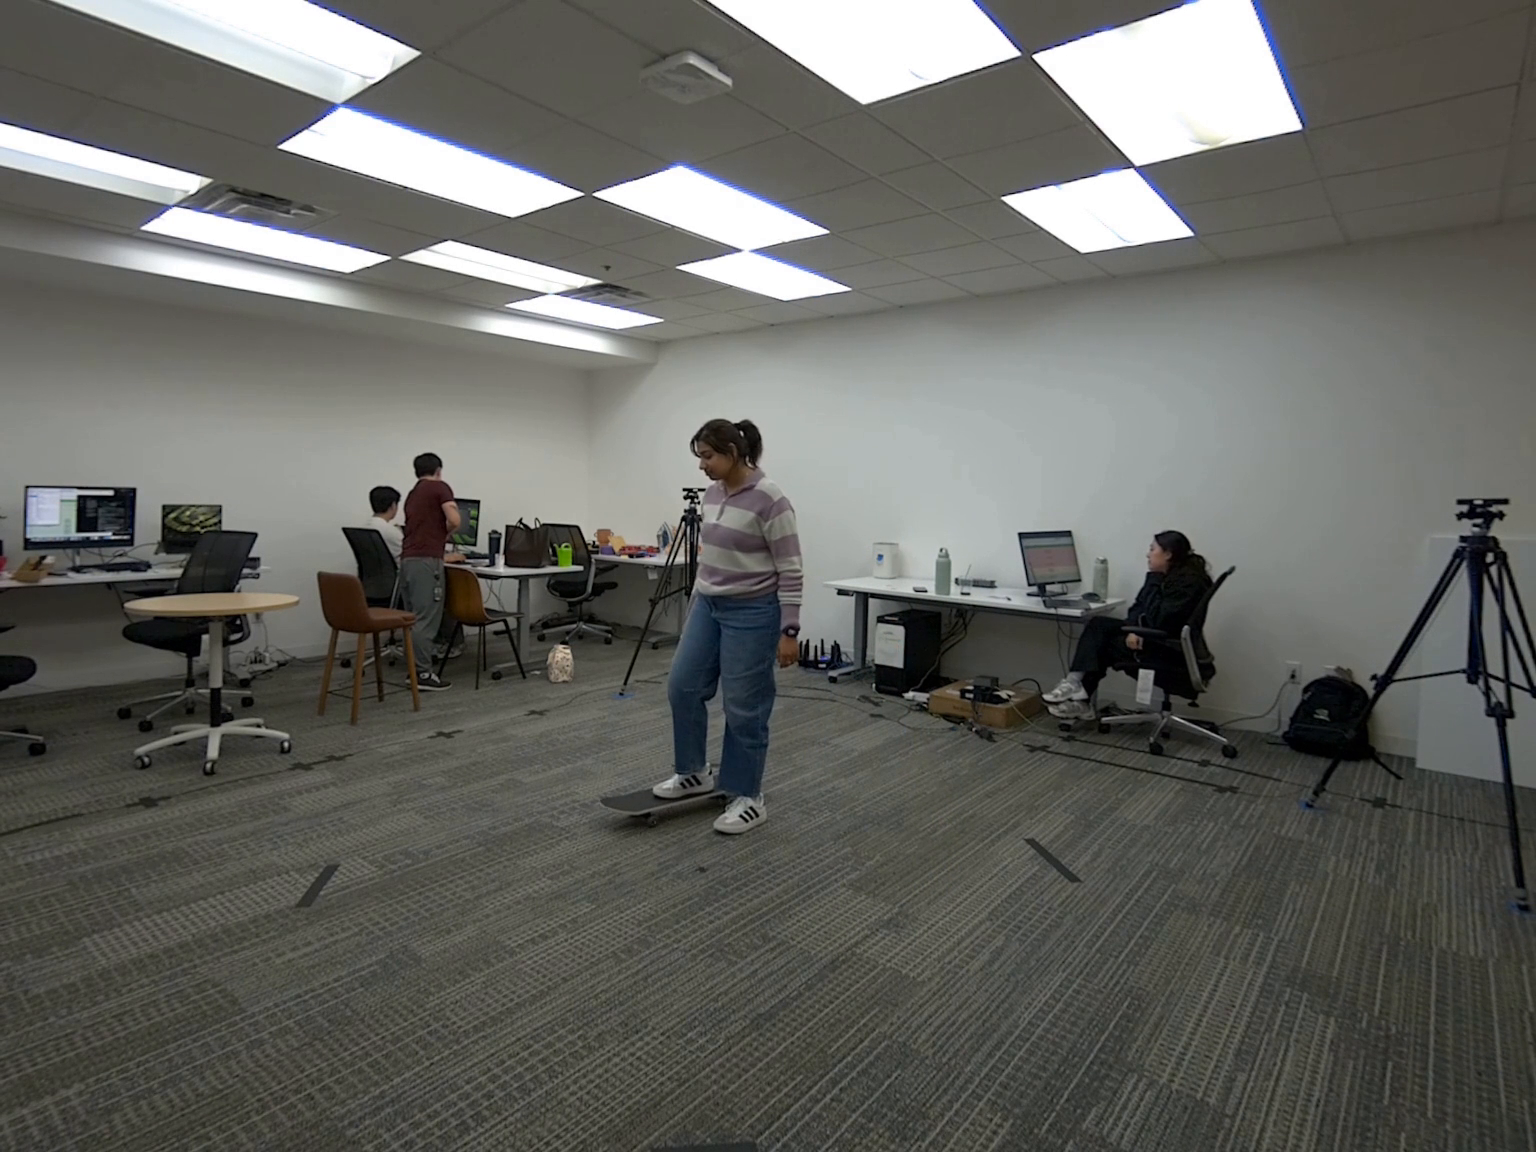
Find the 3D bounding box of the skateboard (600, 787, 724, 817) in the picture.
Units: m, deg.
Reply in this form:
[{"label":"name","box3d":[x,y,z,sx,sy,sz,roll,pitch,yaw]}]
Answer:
[{"label":"skateboard","box3d":[-0.375,0.955,3.674,0.762,0.110,0.200,-3,7,-37]}]
